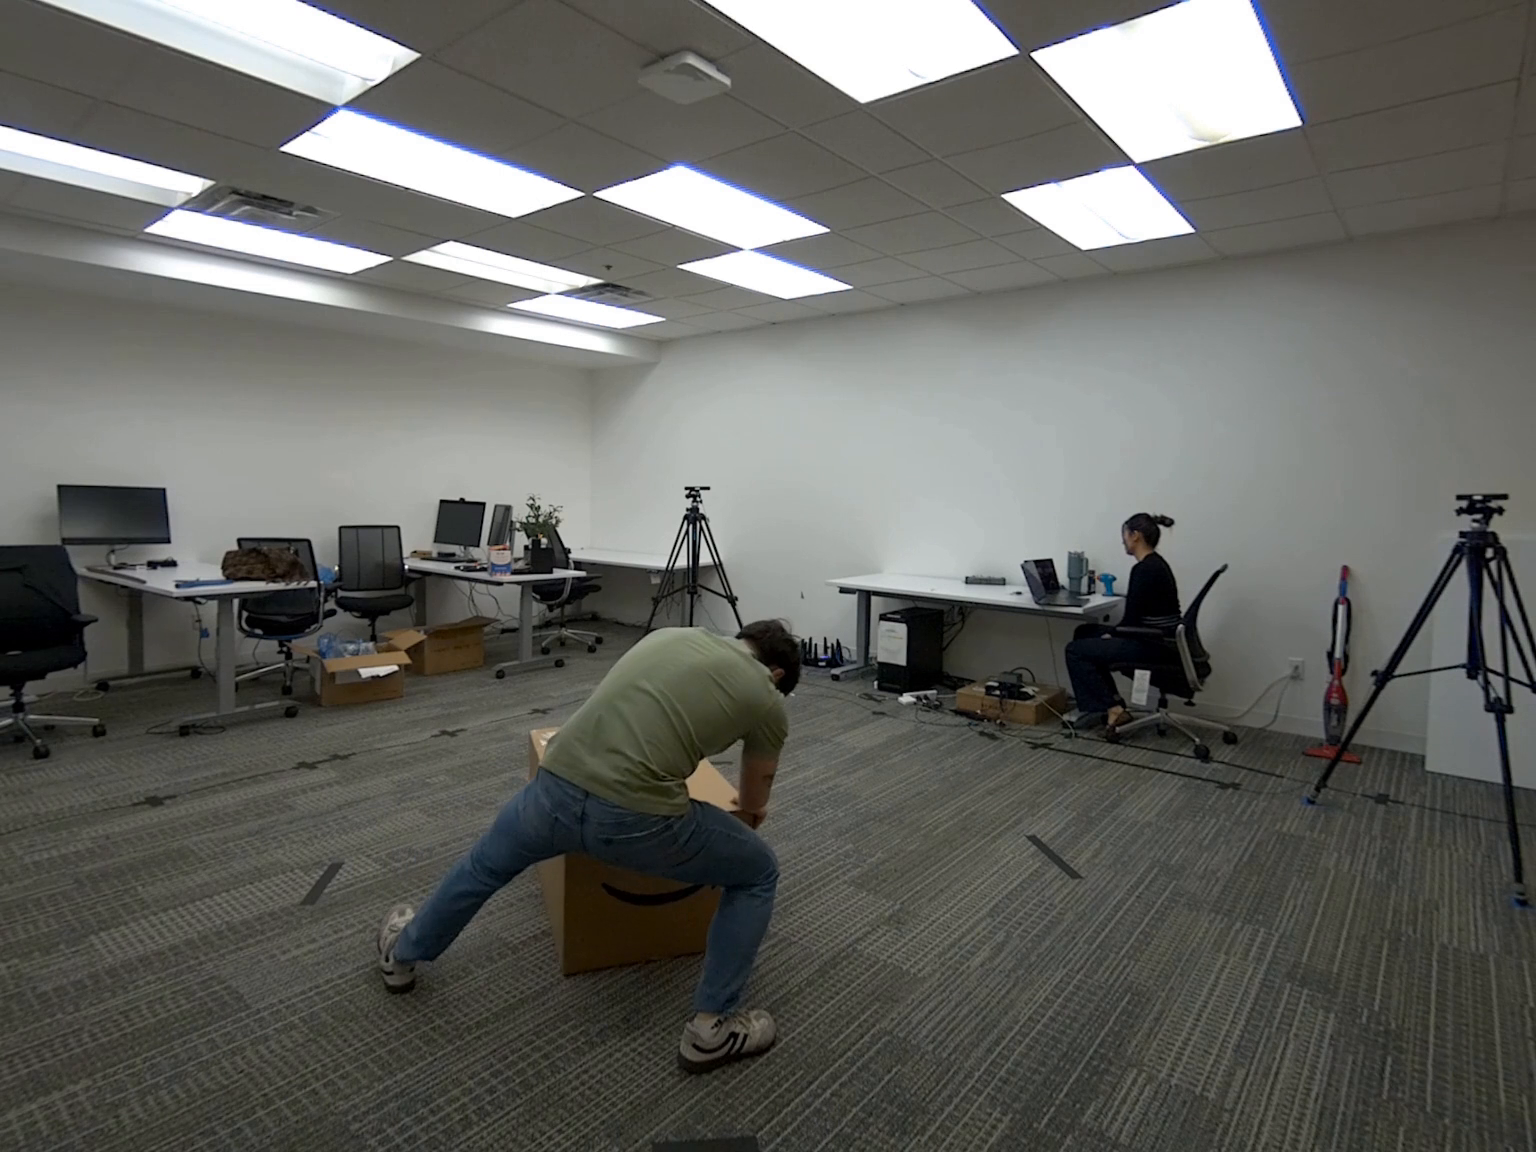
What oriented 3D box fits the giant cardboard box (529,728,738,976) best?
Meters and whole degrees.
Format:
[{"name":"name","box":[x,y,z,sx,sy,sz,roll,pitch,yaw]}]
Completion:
[{"name":"giant cardboard box","box":[-0.510,0.856,2.979,0.566,0.424,1.051,-1,6,-20]}]
